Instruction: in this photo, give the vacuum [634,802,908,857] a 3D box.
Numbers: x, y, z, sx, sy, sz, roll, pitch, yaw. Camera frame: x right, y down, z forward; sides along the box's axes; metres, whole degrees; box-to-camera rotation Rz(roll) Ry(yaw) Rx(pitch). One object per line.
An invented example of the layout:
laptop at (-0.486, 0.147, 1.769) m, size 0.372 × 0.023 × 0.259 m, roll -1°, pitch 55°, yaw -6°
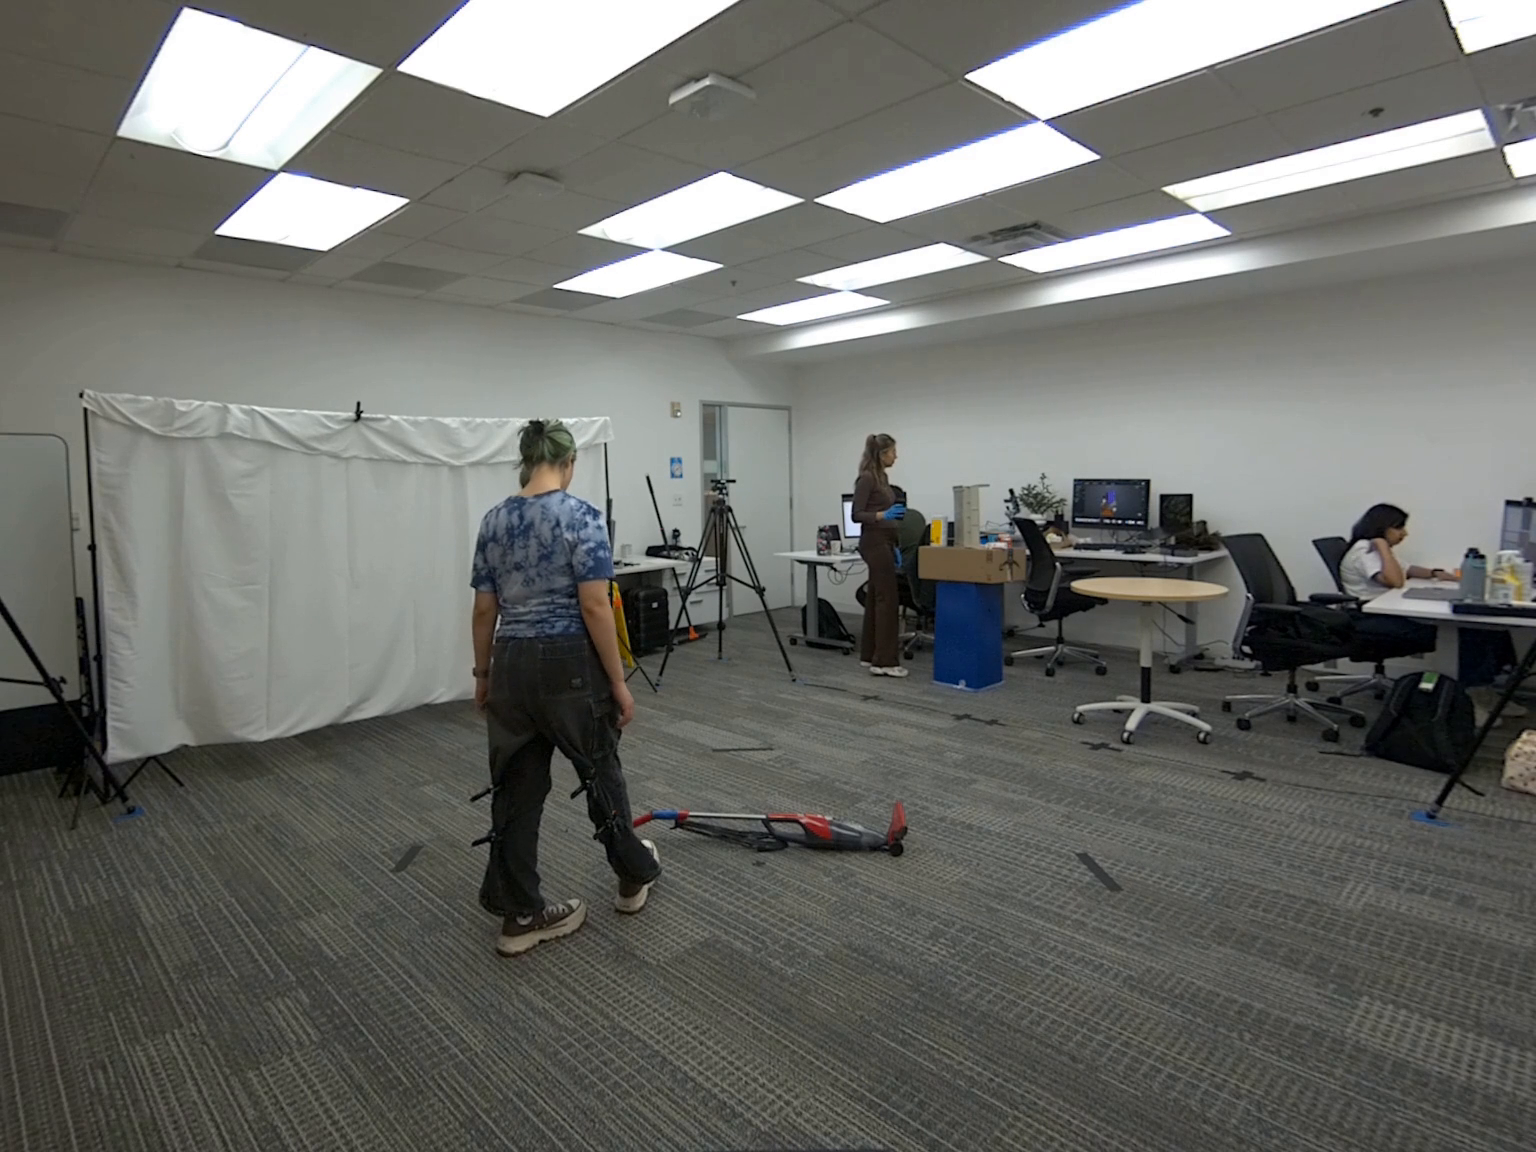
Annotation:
vacuum at (-0.018, 0.964, 3.254) m, size 1.055 × 0.143 × 0.252 m, roll -2°, pitch 5°, yaw 6°
